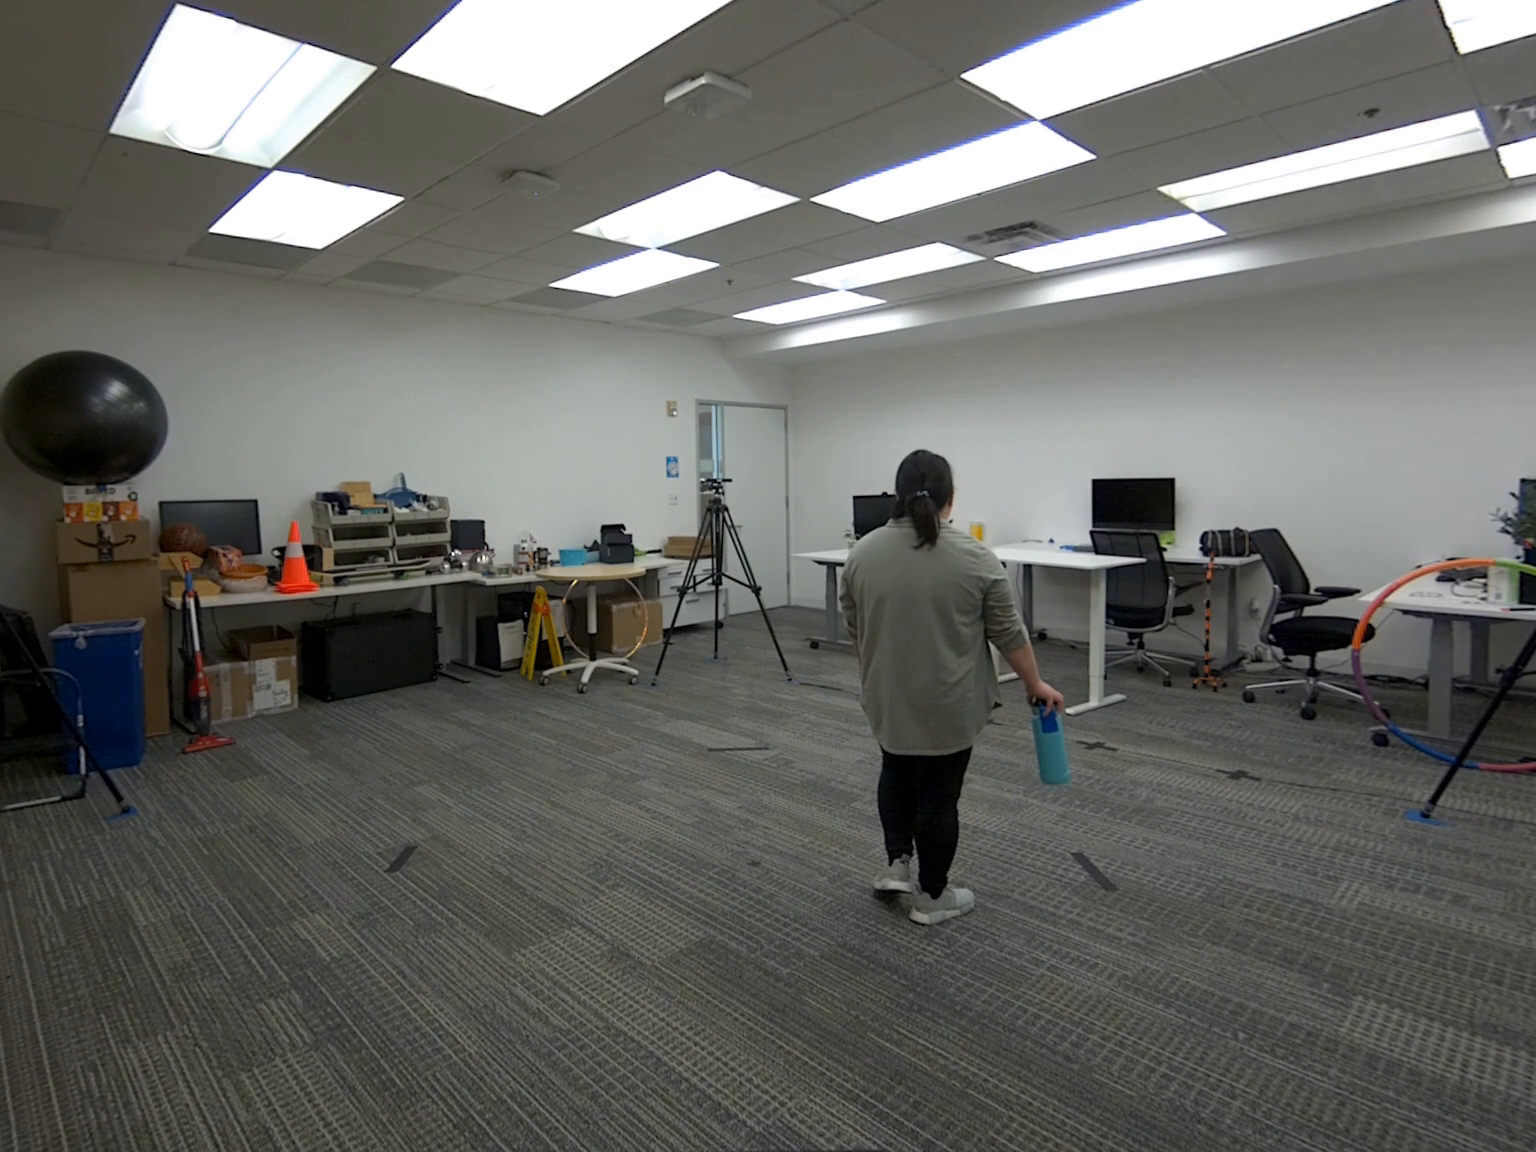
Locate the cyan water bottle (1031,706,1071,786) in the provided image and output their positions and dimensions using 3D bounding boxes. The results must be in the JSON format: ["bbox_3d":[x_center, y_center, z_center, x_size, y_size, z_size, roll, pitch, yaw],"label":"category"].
[{"bbox_3d":[0.872,0.516,2.691,0.092,0.281,0.093,-9,8,0],"label":"cyan water bottle"}]
